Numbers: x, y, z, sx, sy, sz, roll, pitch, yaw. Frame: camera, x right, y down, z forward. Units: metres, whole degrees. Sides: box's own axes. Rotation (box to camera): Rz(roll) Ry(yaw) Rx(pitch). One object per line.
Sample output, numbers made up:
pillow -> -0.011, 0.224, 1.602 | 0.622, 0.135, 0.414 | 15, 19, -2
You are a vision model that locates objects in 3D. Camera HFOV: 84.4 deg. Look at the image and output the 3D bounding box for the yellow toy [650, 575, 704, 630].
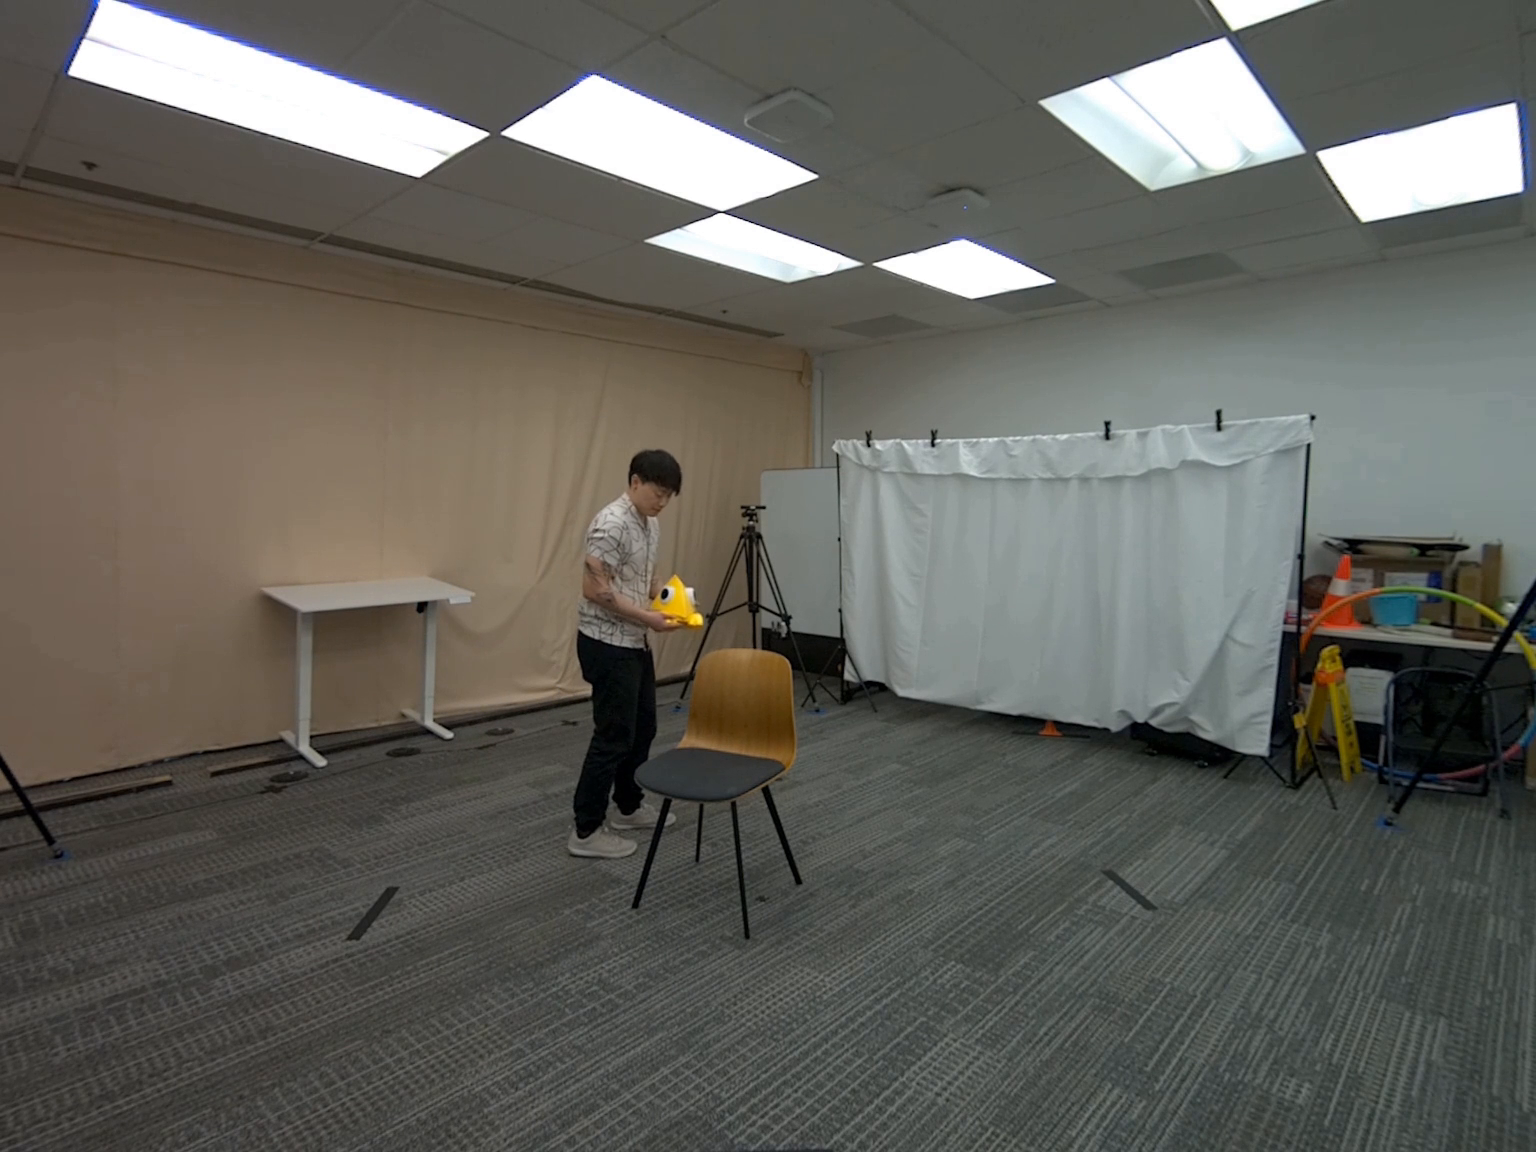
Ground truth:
yellow toy -> -0.374, 0.098, 3.469 | 0.200, 0.232, 0.196 | 6, -13, -22
